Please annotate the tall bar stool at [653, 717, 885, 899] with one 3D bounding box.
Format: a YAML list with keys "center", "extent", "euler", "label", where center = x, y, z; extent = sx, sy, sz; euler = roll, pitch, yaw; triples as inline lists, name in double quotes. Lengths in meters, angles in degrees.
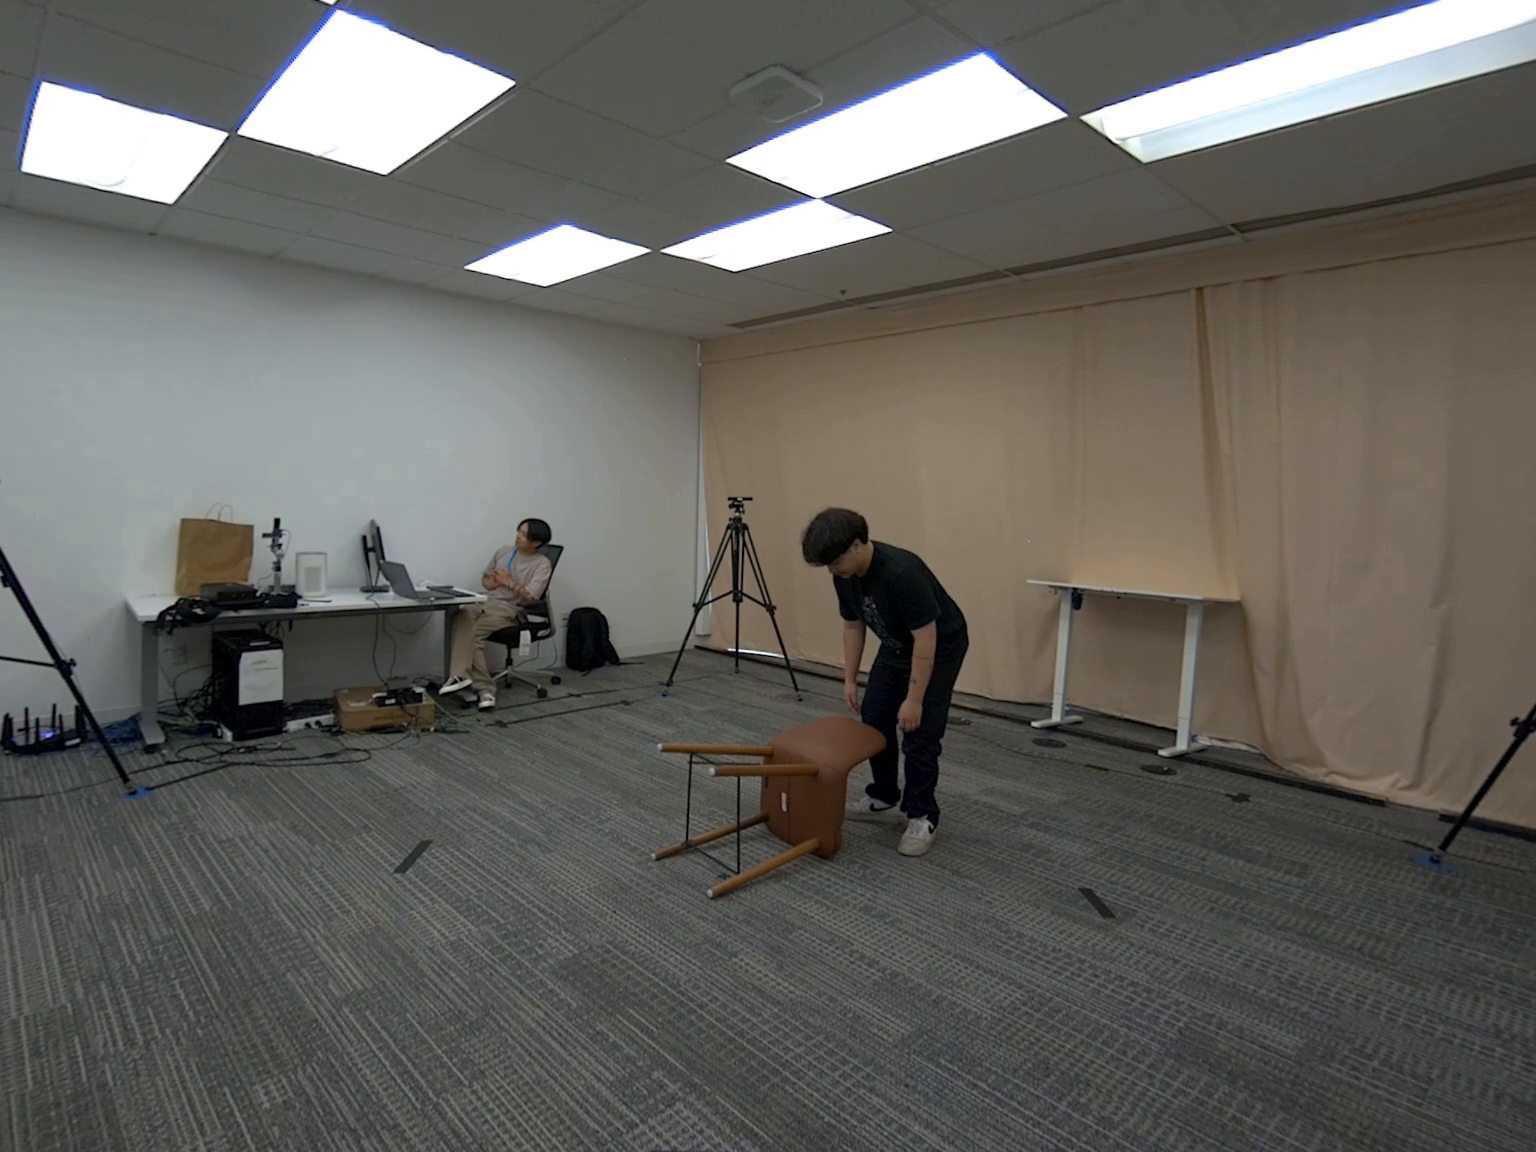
- center: [0.020, 0.864, 3.321]
  extent: [0.870, 0.466, 0.468]
  euler: [-3, 5, -38]
  label: "tall bar stool"
